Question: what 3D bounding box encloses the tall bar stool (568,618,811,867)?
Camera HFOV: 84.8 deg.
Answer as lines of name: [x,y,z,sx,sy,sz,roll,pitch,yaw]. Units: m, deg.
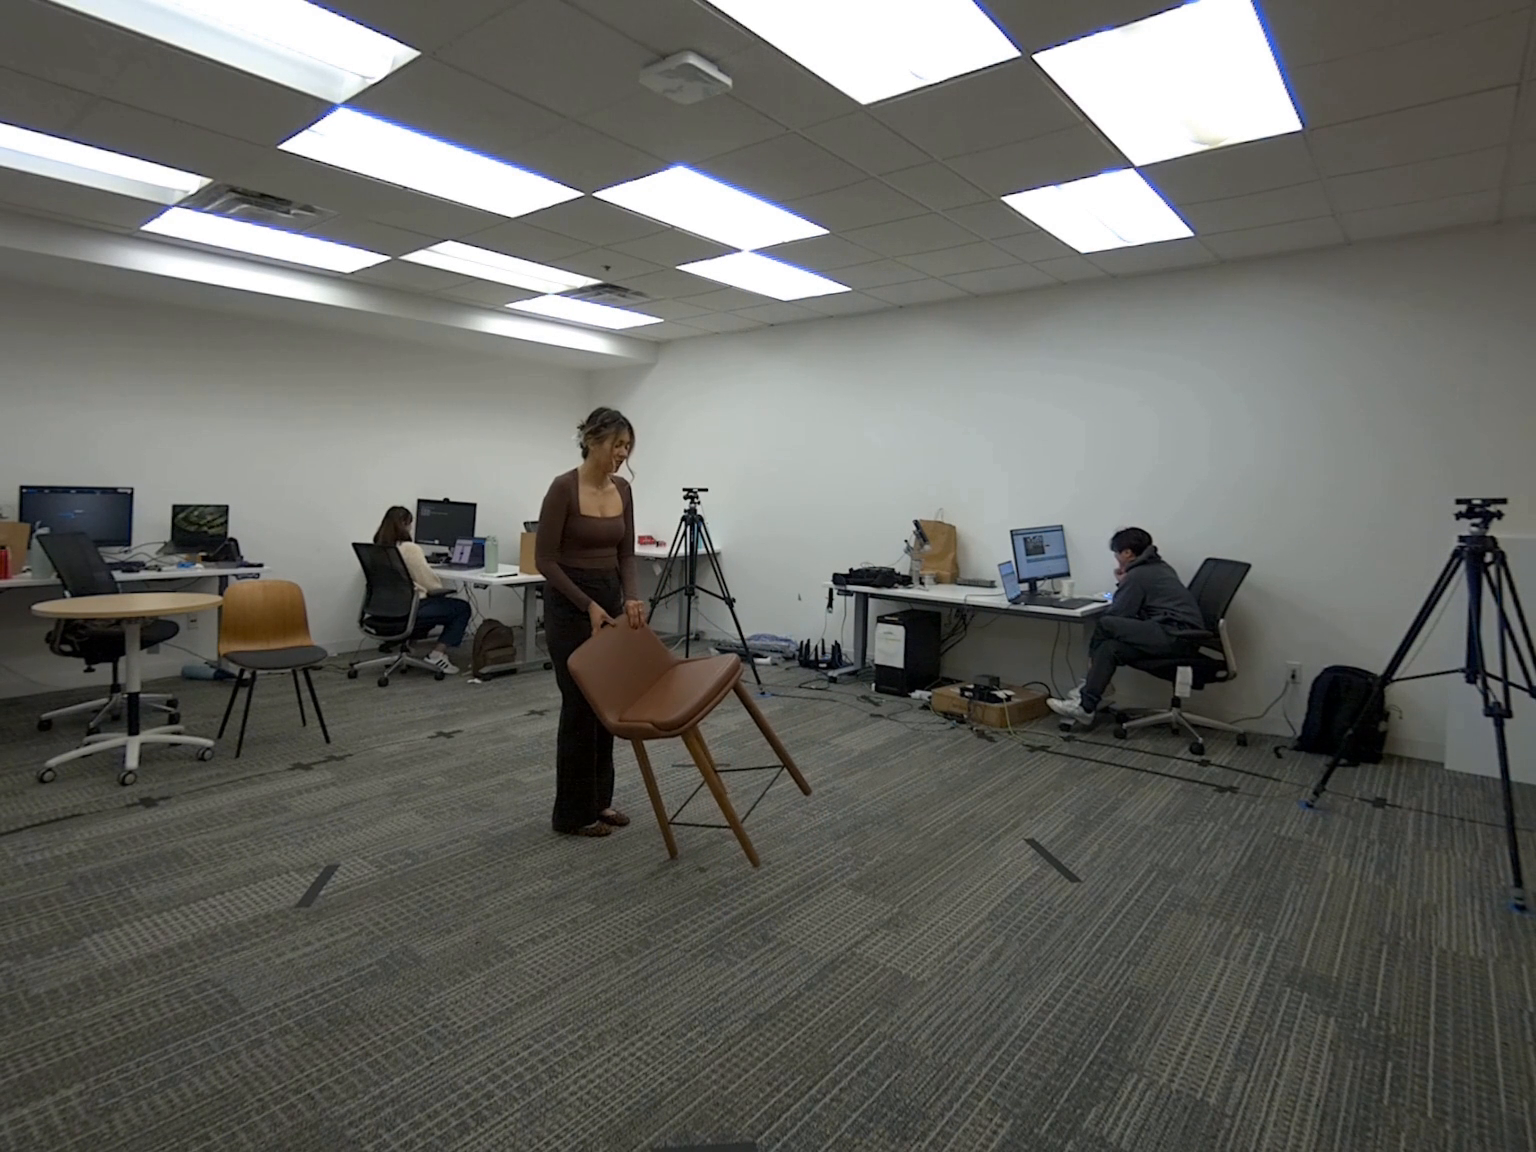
tall bar stool: [-0.301,0.561,3.114,0.477,0.878,0.453,-18,14,40]
